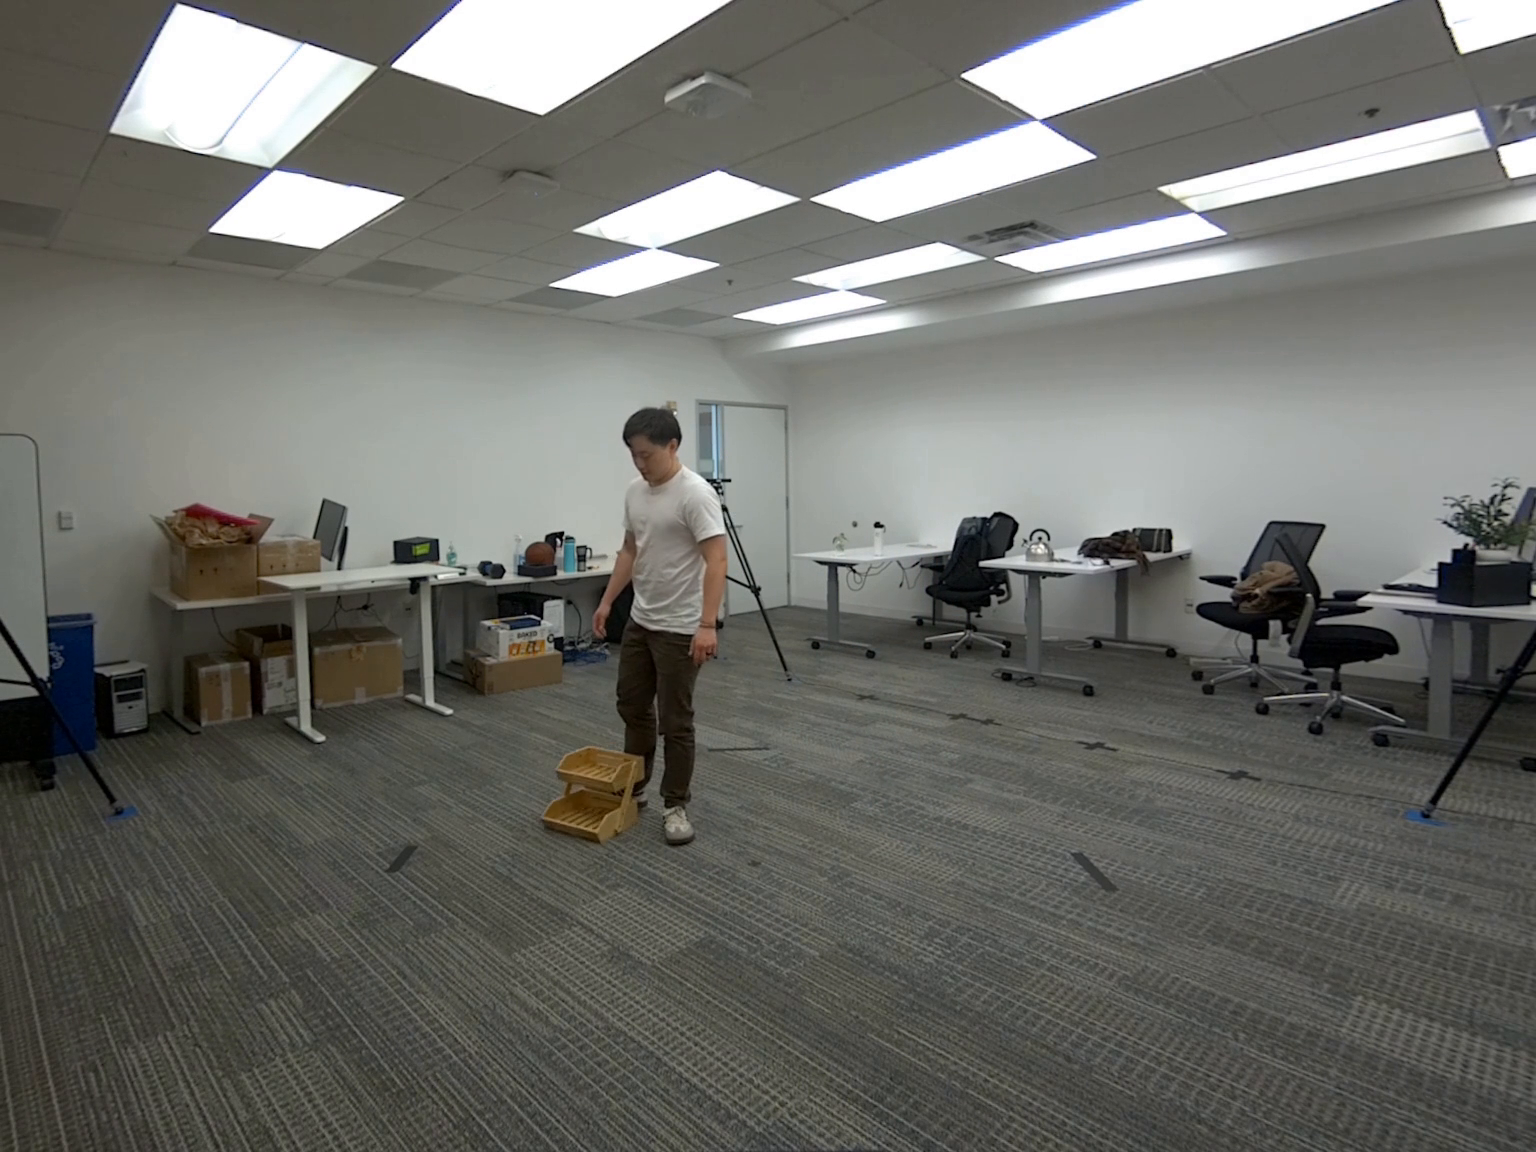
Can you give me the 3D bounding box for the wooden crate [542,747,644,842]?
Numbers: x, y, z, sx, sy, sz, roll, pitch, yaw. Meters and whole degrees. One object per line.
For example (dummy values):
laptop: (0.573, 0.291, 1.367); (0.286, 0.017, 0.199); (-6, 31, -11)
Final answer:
wooden crate: (-0.721, 0.883, 3.461); (0.333, 0.272, 0.295); (2, 5, 33)
